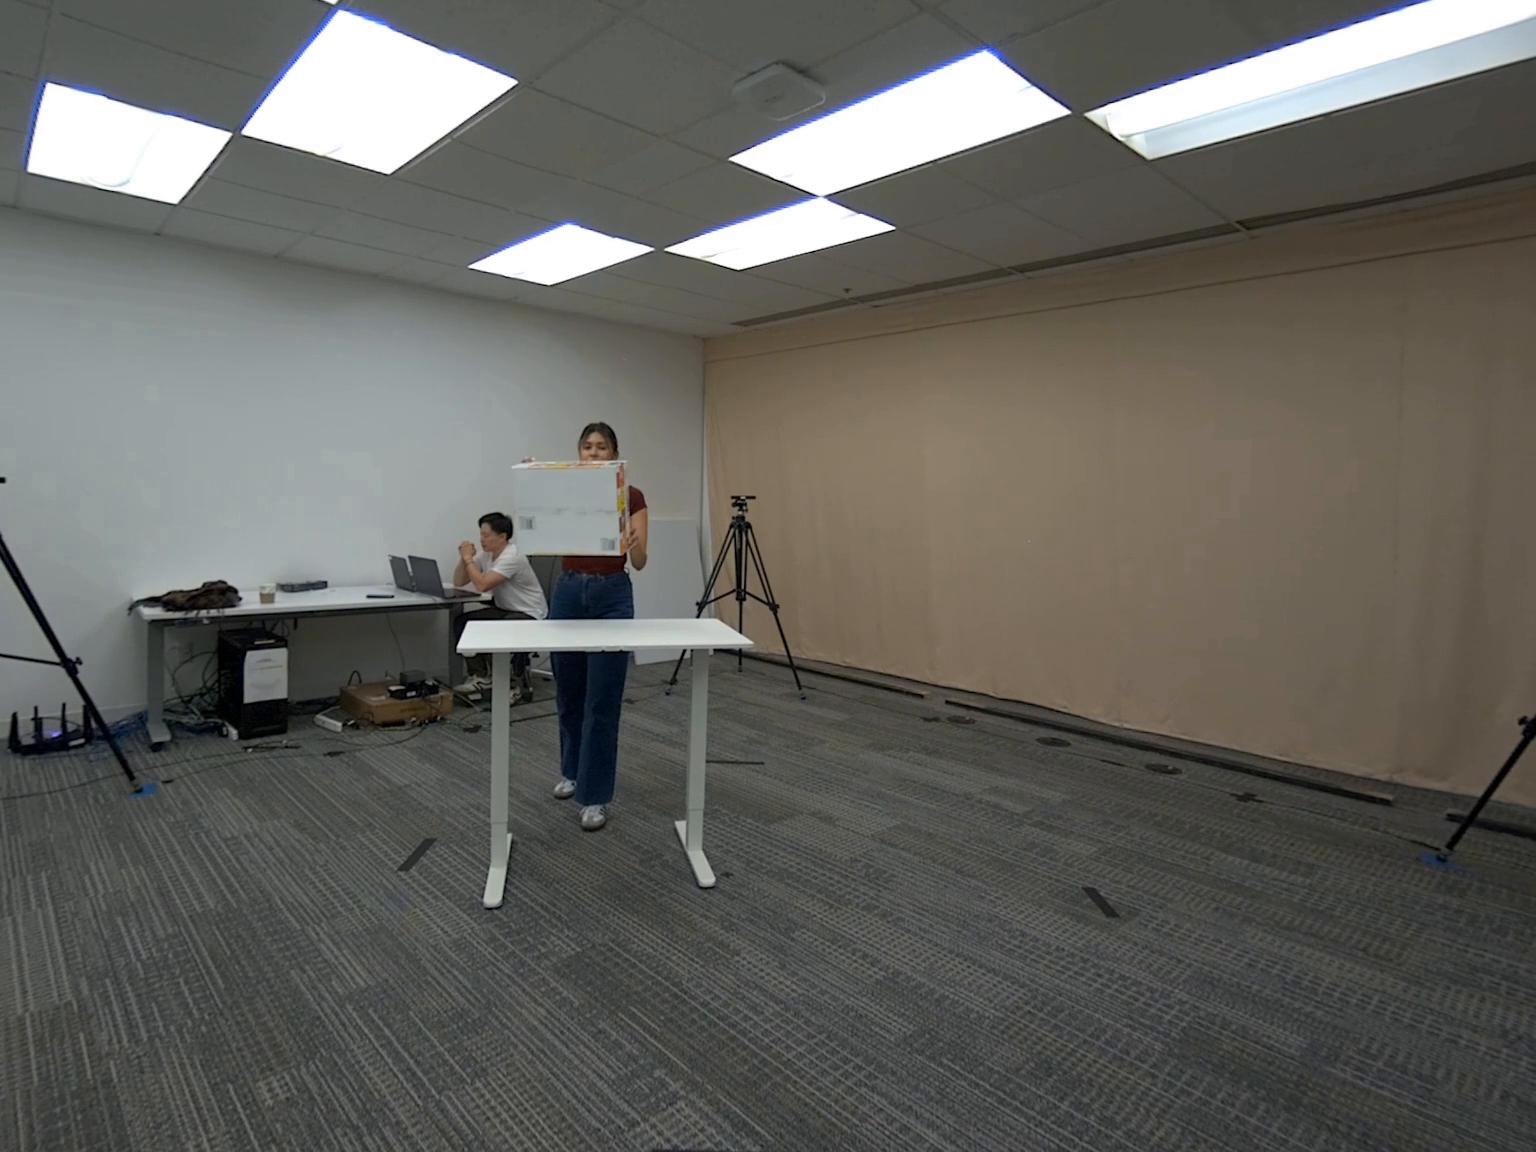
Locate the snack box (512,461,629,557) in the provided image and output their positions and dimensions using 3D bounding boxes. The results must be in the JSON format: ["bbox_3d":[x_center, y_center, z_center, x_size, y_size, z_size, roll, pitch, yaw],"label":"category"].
[{"bbox_3d":[-0.756,-0.263,3.234,0.407,0.338,0.206,-1,8,5],"label":"snack box"}]
